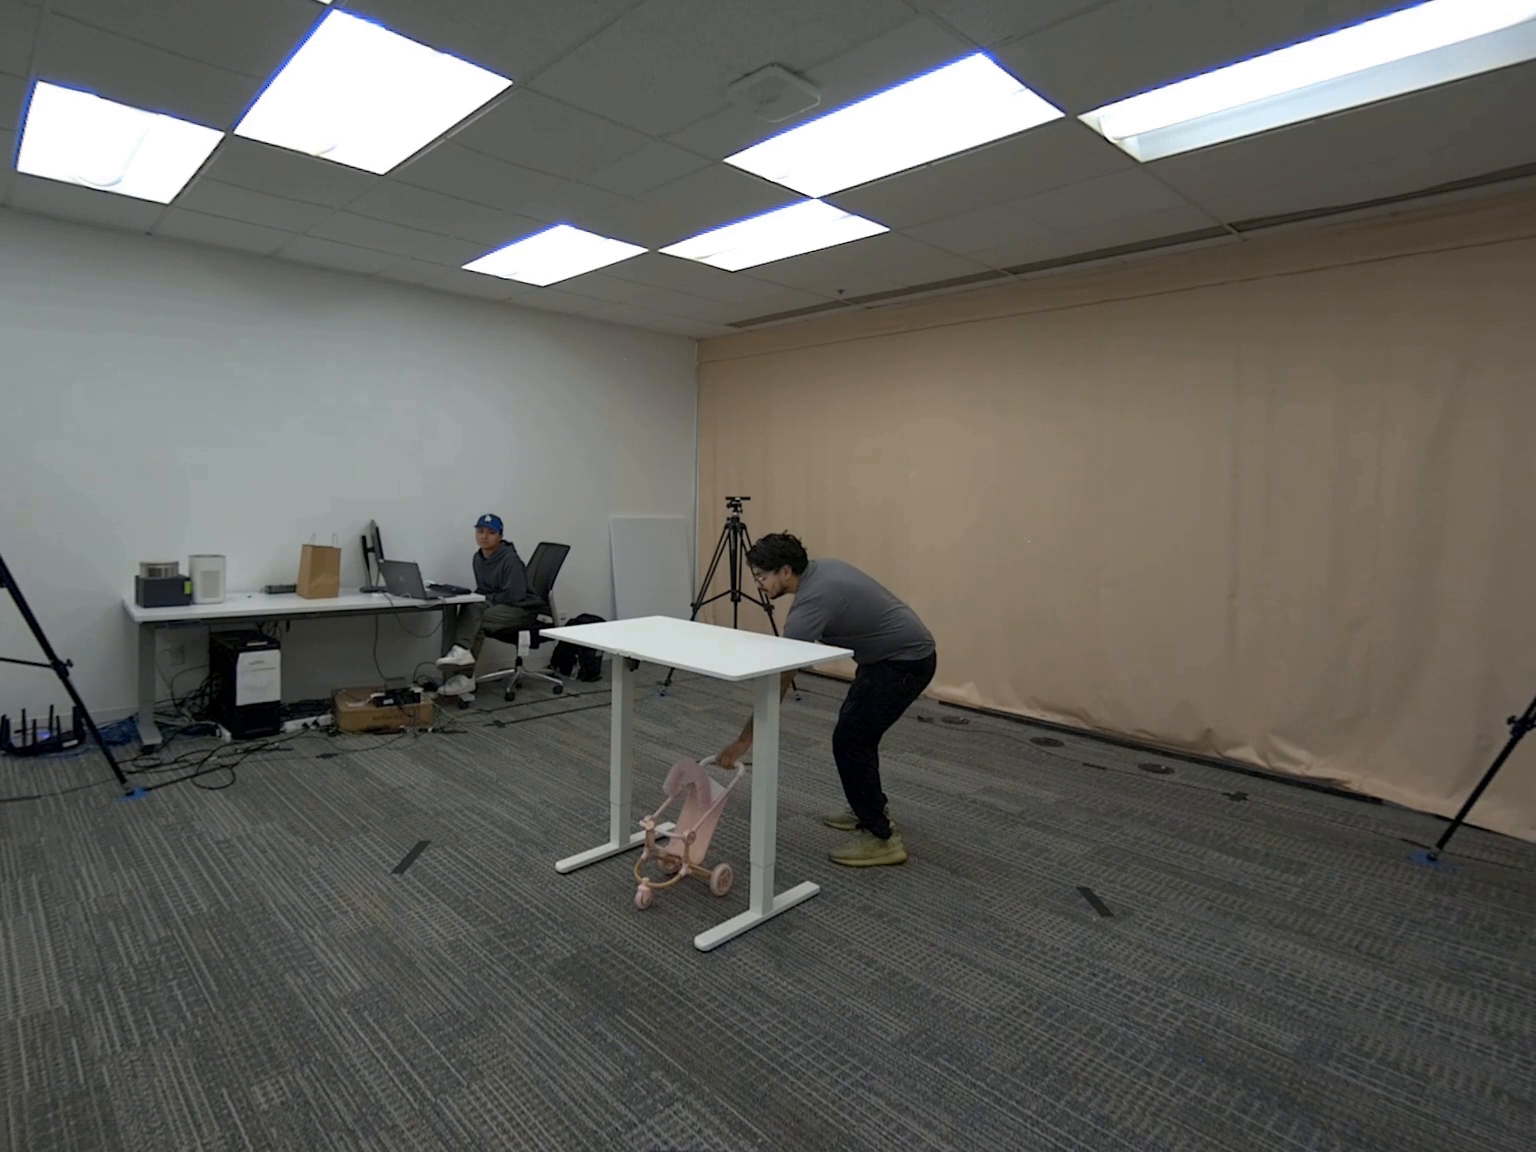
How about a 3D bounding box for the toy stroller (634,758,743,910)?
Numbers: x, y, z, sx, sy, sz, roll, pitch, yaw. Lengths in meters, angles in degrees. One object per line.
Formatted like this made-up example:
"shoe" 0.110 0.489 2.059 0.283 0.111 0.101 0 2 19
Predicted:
"toy stroller" -0.302 0.893 2.978 0.288 0.538 0.331 3 -13 44
